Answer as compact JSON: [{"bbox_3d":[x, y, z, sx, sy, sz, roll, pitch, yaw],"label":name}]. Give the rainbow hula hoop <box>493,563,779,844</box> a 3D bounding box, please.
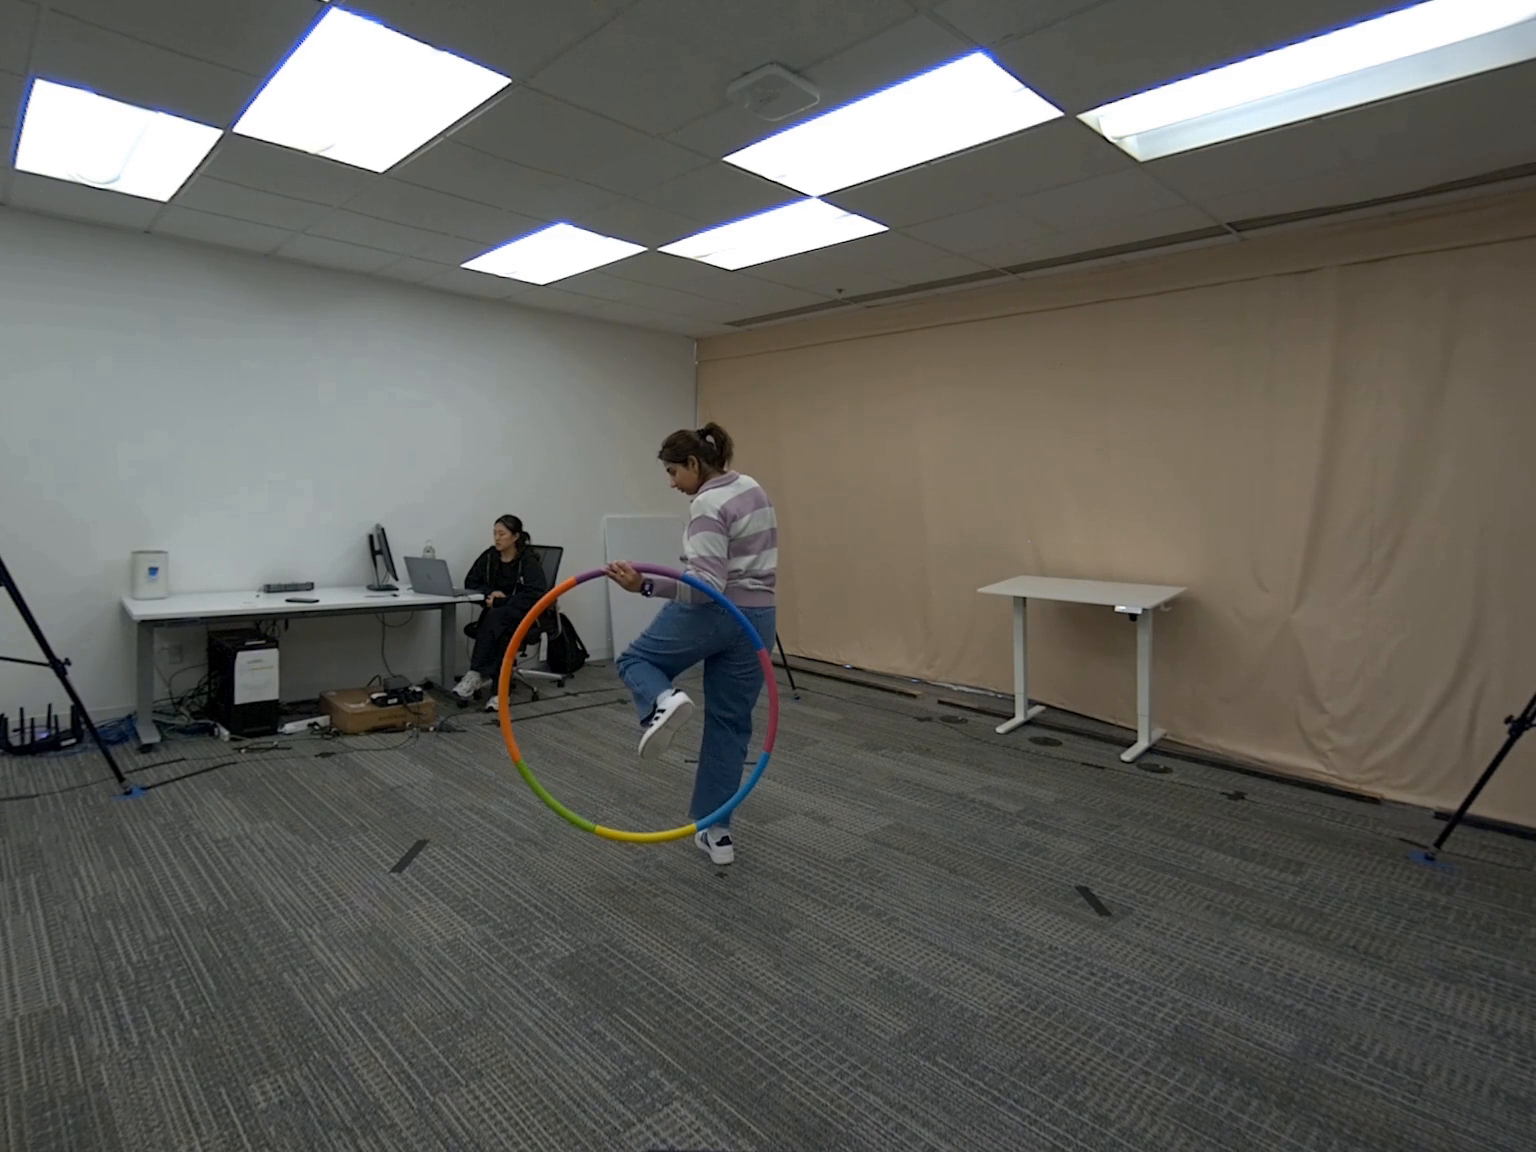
[{"bbox_3d":[-0.468,0.458,2.920,0.990,0.981,0.051,2,5,6],"label":"rainbow hula hoop"}]
